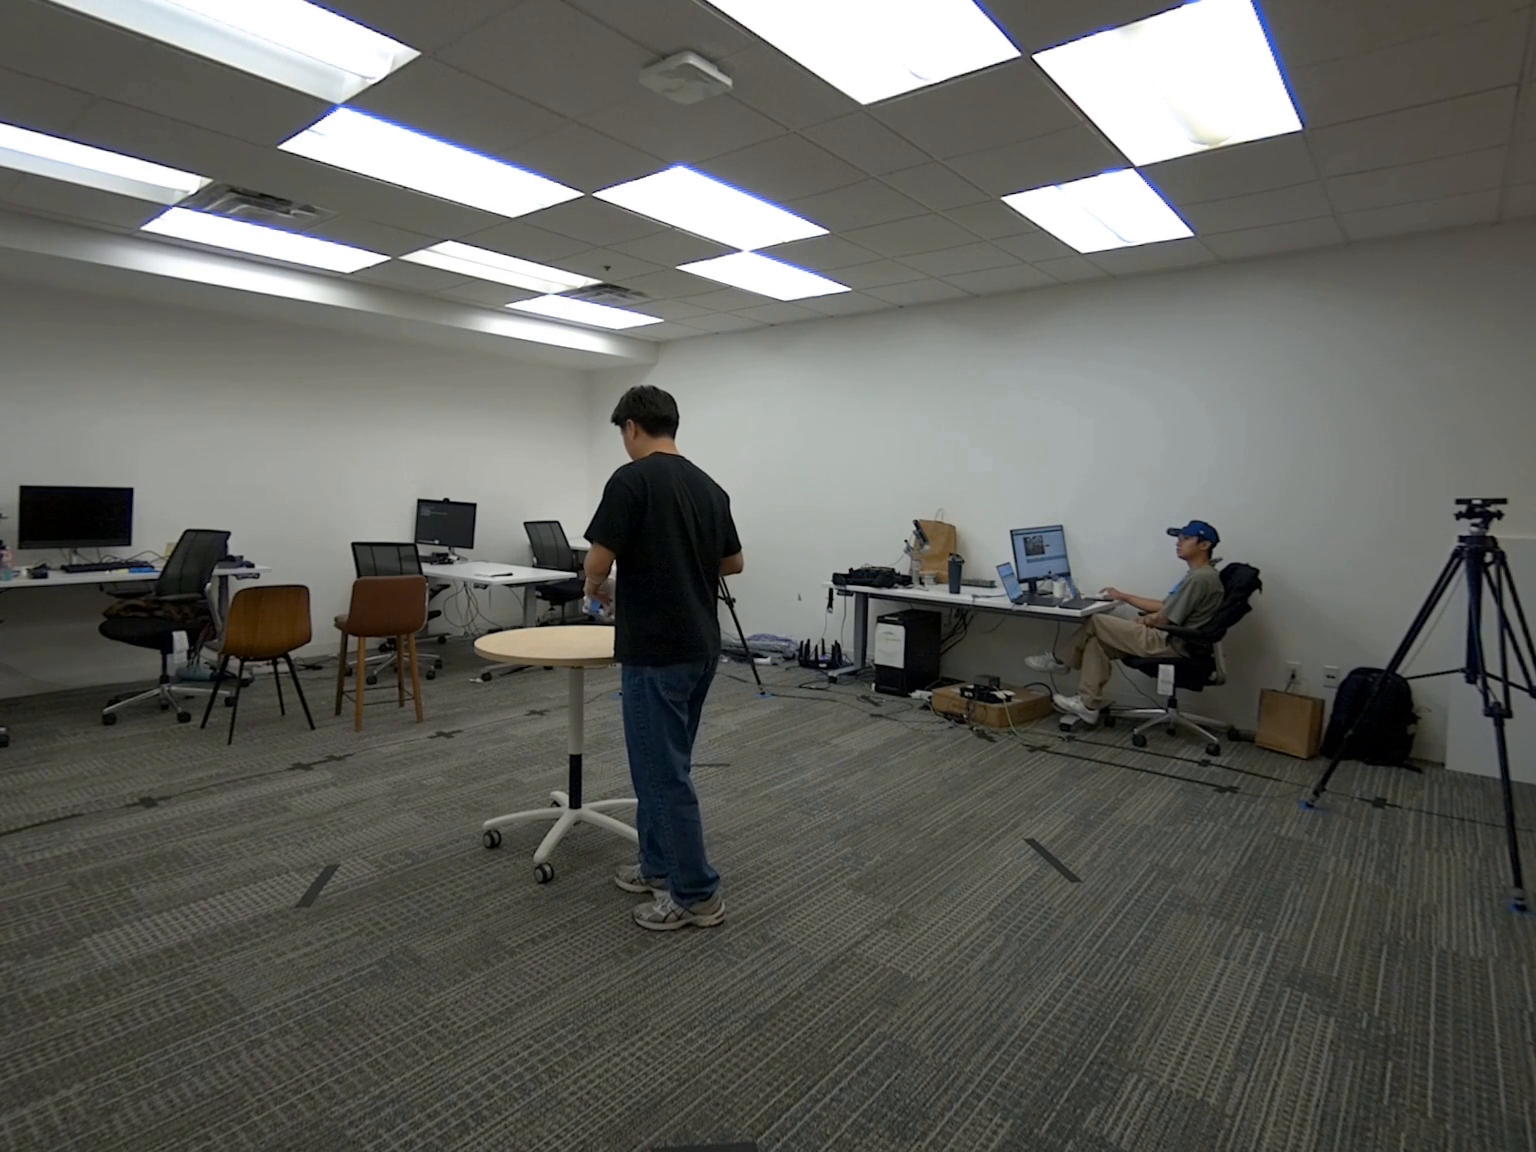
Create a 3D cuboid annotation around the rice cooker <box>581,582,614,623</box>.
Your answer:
[{"bbox_3d":[-0.514,0.044,2.991,0.241,0.218,0.212,9,-4,38],"label":"rice cooker"}]
